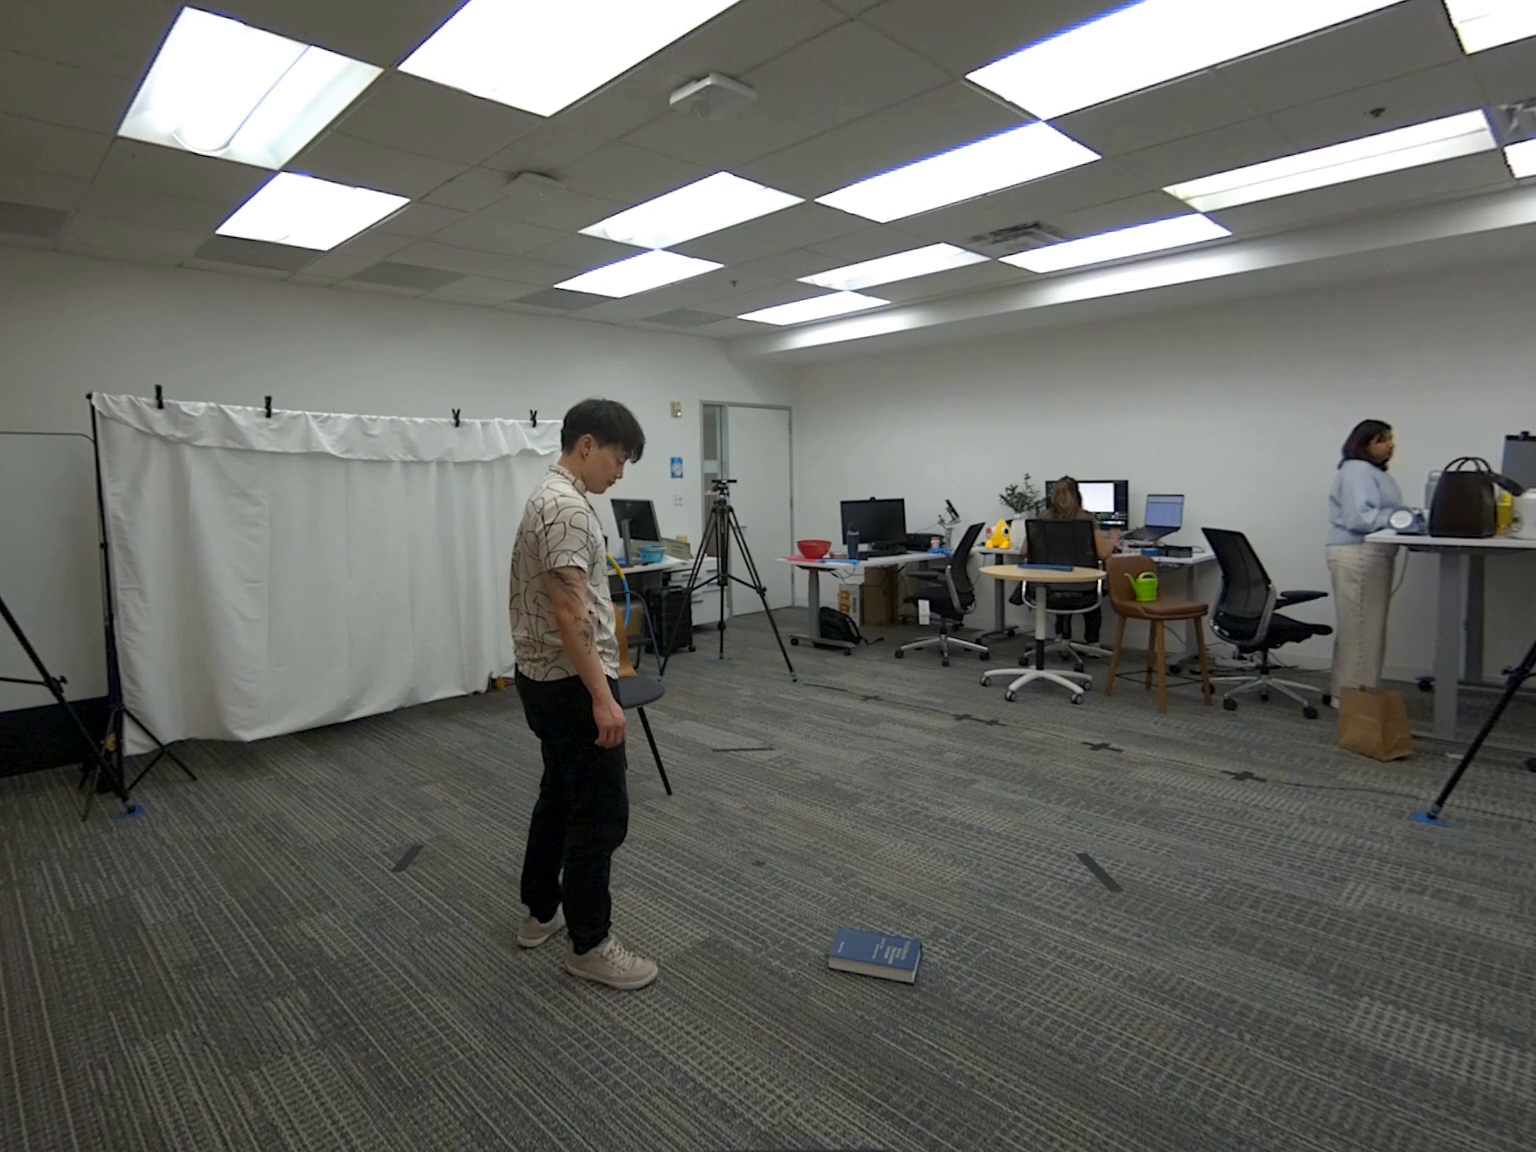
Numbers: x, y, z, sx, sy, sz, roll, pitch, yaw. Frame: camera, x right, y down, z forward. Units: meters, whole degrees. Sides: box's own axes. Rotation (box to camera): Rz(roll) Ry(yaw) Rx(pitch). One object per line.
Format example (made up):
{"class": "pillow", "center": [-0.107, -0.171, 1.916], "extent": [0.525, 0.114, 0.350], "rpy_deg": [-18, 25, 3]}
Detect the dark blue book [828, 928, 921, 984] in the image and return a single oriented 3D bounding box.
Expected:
{"class": "dark blue book", "center": [0.310, 1.084, 2.461], "extent": [0.250, 0.045, 0.161], "rpy_deg": [2, 7, 19]}
